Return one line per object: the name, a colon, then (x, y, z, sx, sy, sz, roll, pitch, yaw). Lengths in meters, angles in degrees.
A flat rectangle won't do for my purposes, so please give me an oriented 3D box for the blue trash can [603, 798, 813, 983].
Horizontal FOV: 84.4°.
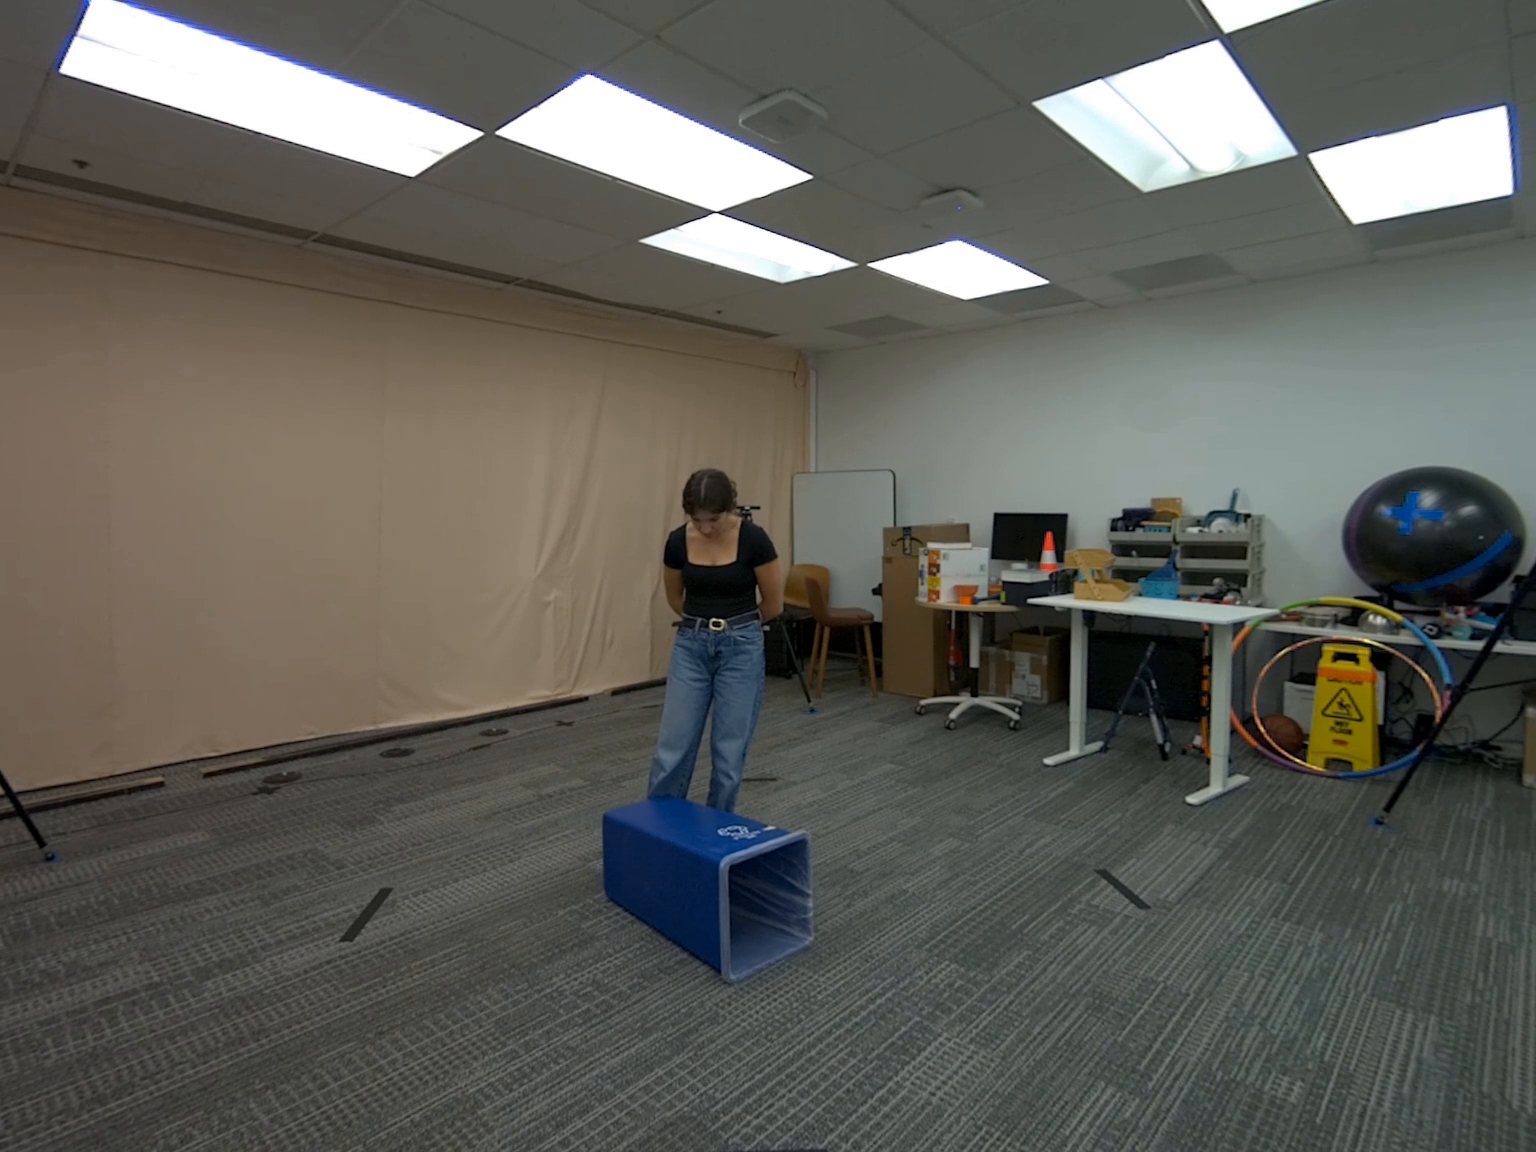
blue trash can: (-0.229, 0.991, 2.816, 0.362, 0.378, 0.736, -3, 2, -43)
